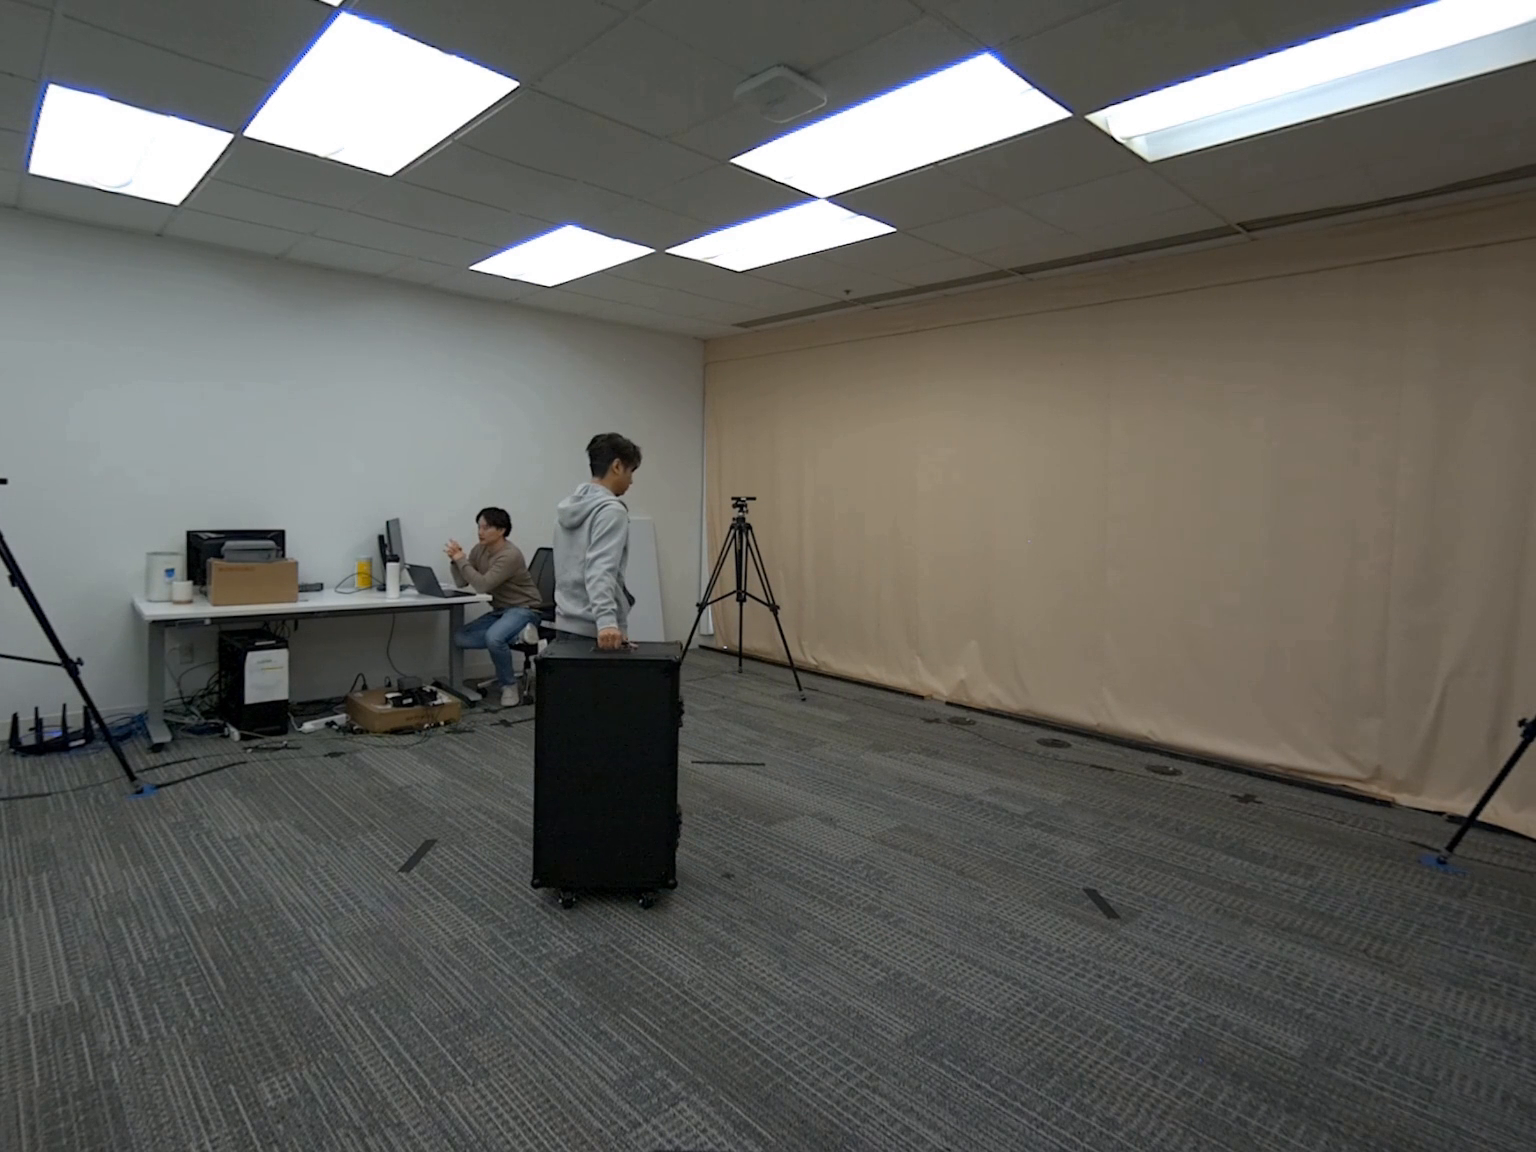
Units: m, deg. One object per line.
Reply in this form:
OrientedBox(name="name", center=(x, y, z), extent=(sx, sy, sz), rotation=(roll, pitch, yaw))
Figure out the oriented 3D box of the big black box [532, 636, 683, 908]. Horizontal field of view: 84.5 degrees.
OrientedBox(name="big black box", center=(-0.570, 0.690, 2.995), extent=(0.520, 0.860, 0.398), rotation=(0, 2, -3))
